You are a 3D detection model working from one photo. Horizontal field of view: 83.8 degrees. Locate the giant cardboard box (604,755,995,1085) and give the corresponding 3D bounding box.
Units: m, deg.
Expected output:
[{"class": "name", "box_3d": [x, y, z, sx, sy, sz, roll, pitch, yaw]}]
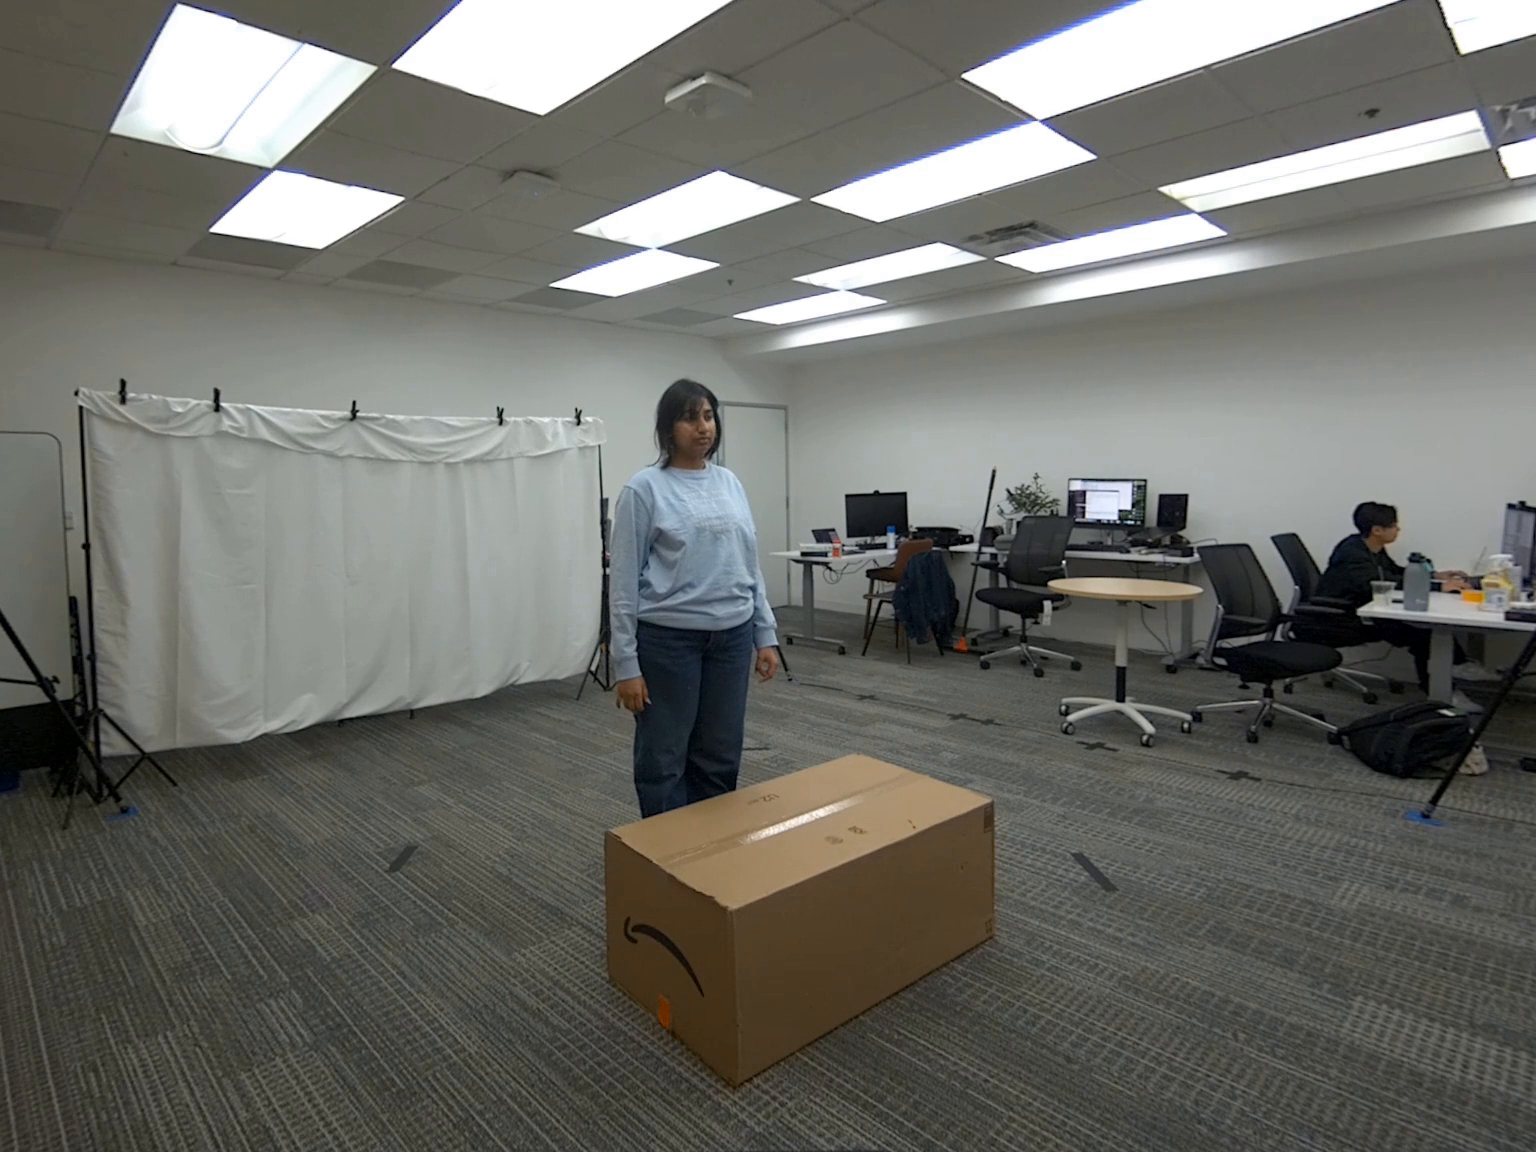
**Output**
[{"class": "giant cardboard box", "box_3d": [0.118, 0.901, 2.485, 0.999, 0.424, 0.595, -6, 8, -39]}]
